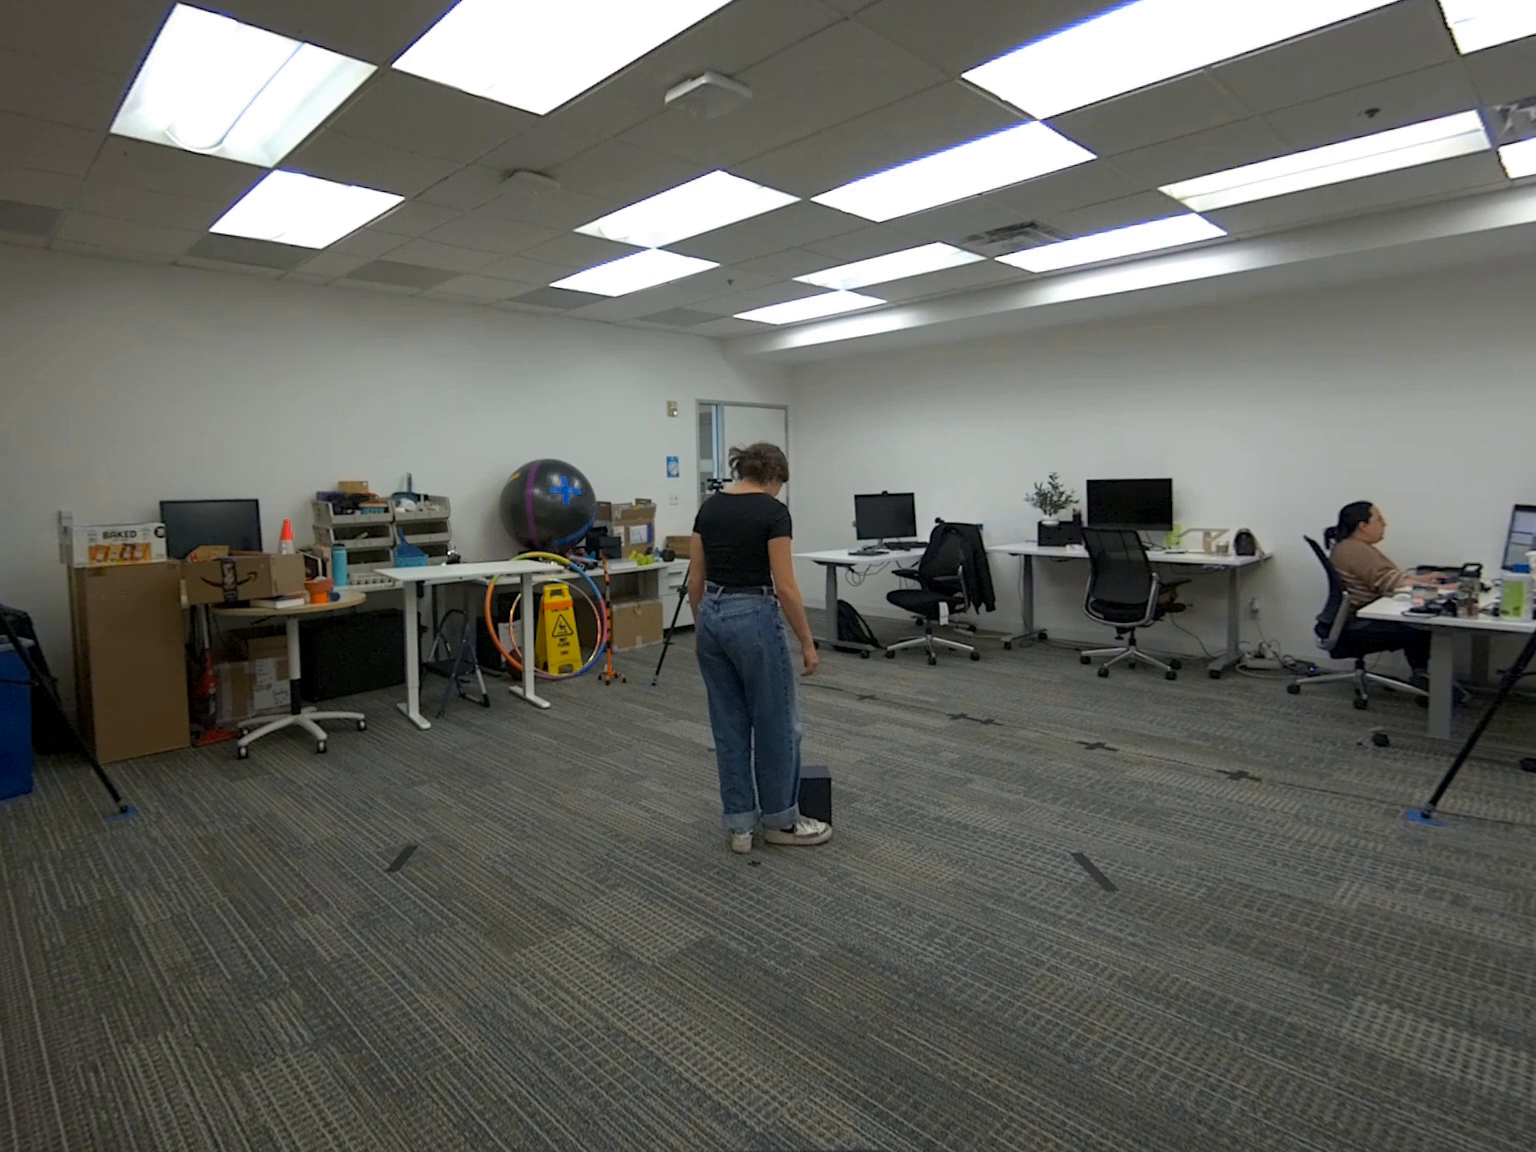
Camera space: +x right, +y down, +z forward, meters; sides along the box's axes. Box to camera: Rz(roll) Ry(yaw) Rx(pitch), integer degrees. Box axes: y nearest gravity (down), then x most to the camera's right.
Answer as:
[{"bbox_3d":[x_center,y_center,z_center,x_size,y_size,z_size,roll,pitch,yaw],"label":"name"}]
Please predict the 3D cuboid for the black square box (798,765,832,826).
[{"bbox_3d":[0.142,0.886,3.423,0.217,0.227,0.156,-2,3,-2],"label":"black square box"}]
